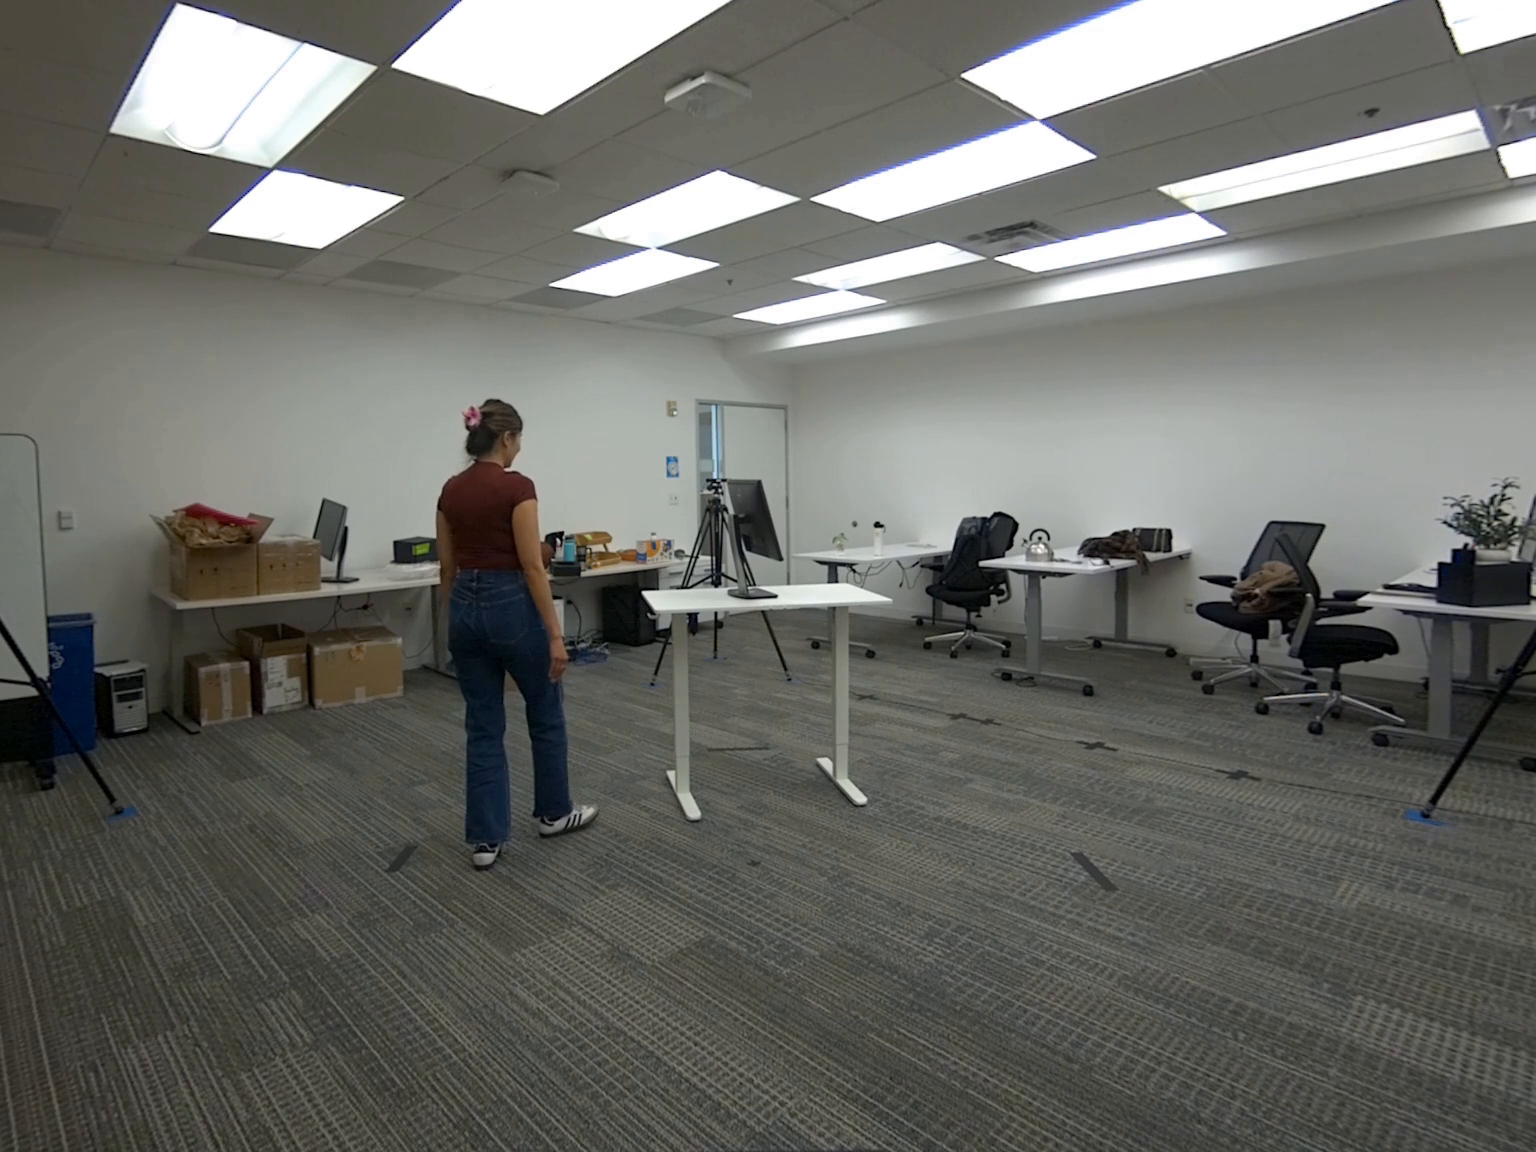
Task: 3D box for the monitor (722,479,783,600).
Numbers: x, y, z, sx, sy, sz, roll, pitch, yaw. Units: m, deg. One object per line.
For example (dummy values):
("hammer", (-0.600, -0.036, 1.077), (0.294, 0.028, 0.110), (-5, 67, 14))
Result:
("monitor", (-0.095, -0.167, 3.785), (0.184, 0.520, 0.550), (-4, 6, -18))
